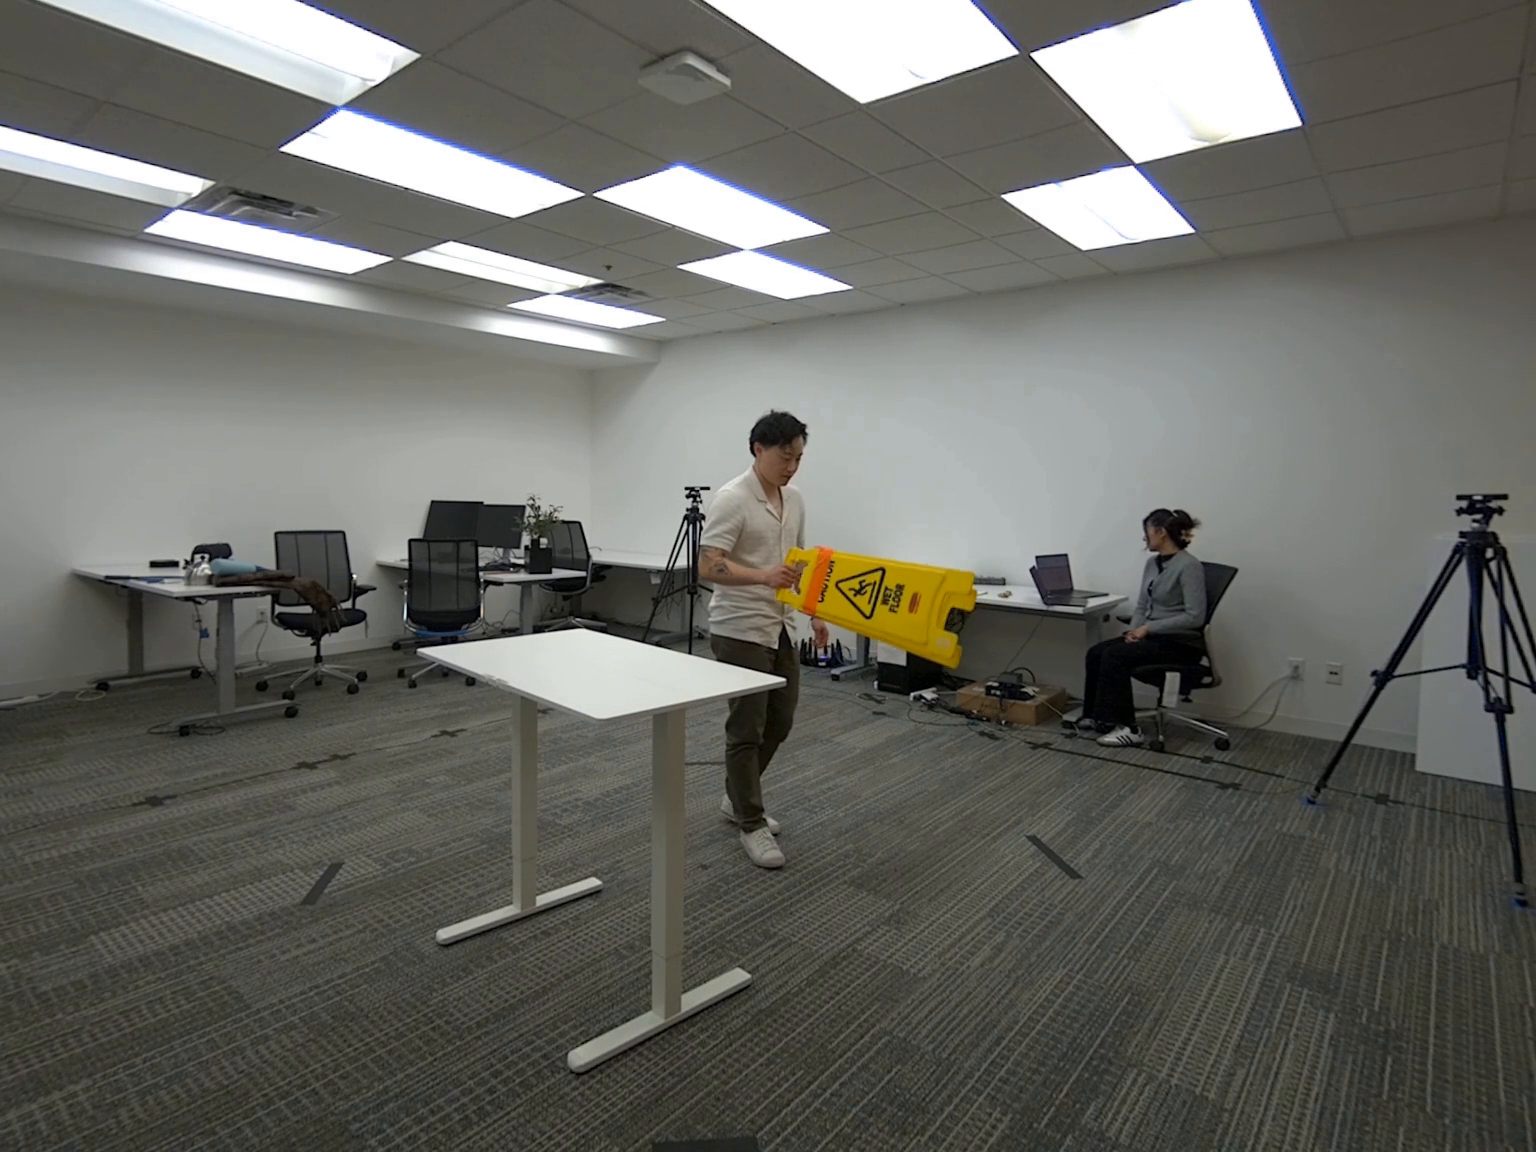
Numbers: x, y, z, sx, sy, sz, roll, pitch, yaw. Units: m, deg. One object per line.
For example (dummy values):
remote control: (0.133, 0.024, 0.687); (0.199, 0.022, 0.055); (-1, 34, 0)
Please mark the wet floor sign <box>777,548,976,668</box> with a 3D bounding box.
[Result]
wet floor sign: (0.333, 0.072, 2.865); (0.663, 0.283, 0.281); (15, -8, 20)
